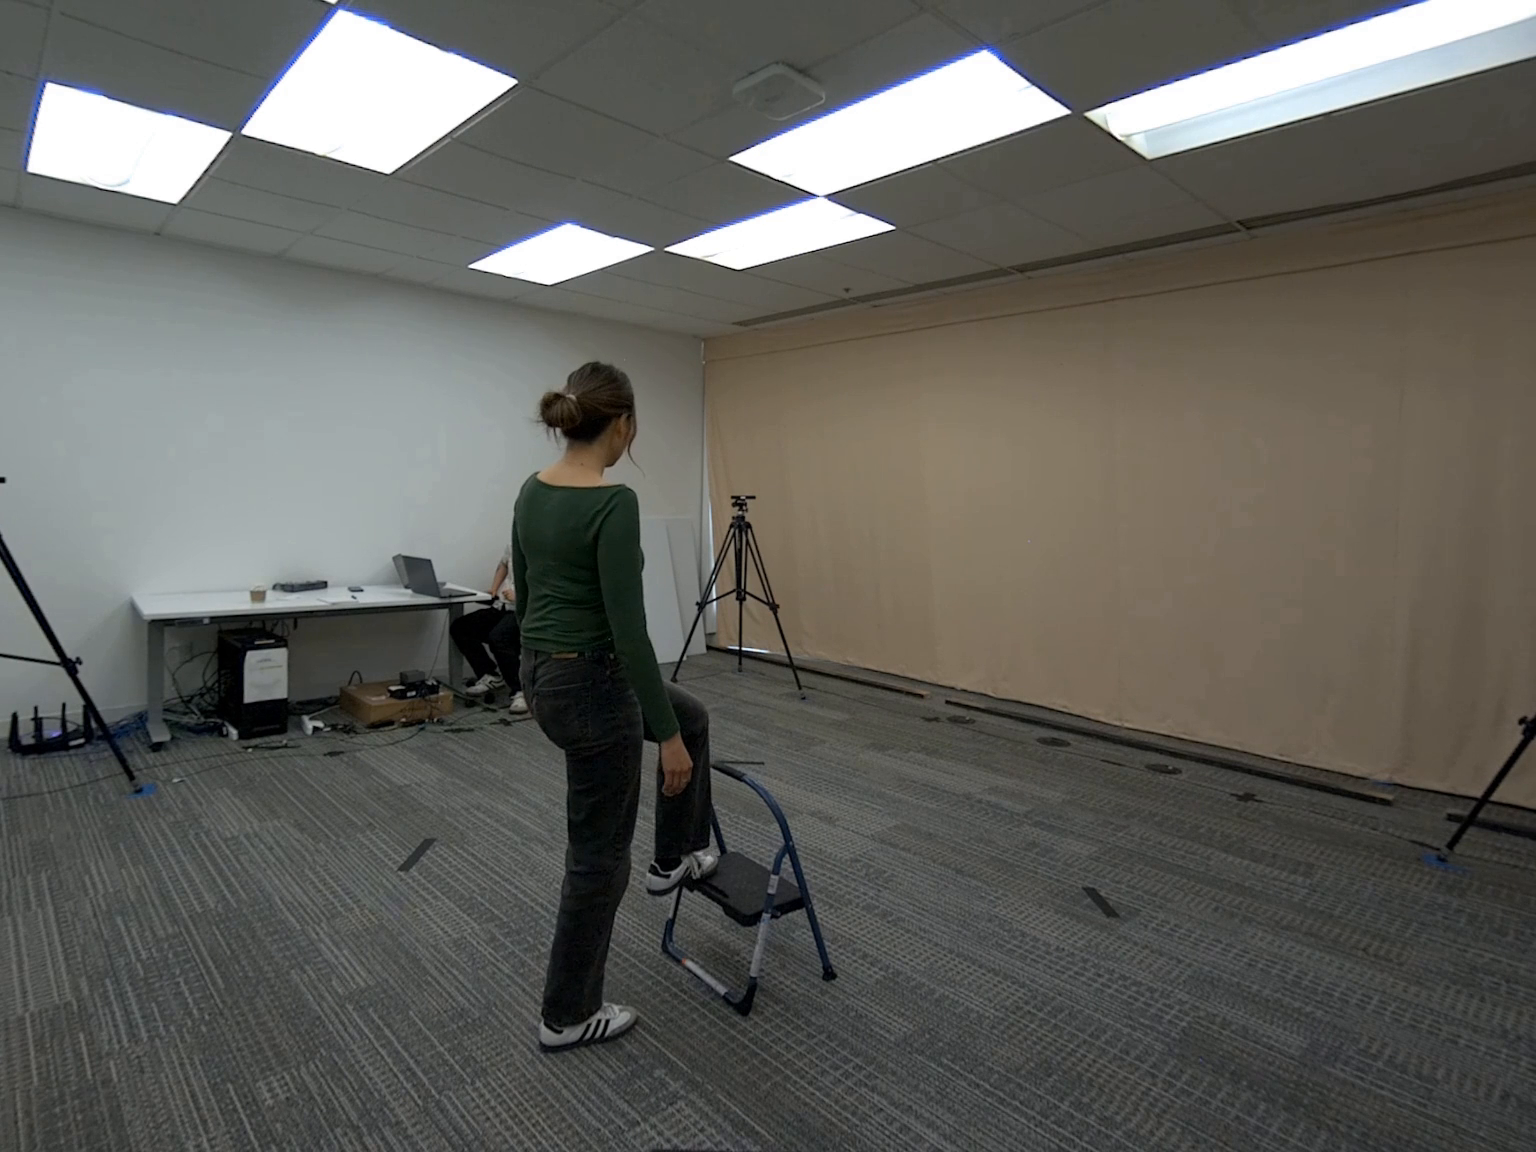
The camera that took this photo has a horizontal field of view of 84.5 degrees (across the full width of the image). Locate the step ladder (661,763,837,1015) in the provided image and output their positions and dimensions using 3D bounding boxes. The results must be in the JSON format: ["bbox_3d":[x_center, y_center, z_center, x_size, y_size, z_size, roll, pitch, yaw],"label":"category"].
[{"bbox_3d":[-0.061,0.857,2.498,0.341,0.604,0.441,-2,5,-40],"label":"step ladder"}]
